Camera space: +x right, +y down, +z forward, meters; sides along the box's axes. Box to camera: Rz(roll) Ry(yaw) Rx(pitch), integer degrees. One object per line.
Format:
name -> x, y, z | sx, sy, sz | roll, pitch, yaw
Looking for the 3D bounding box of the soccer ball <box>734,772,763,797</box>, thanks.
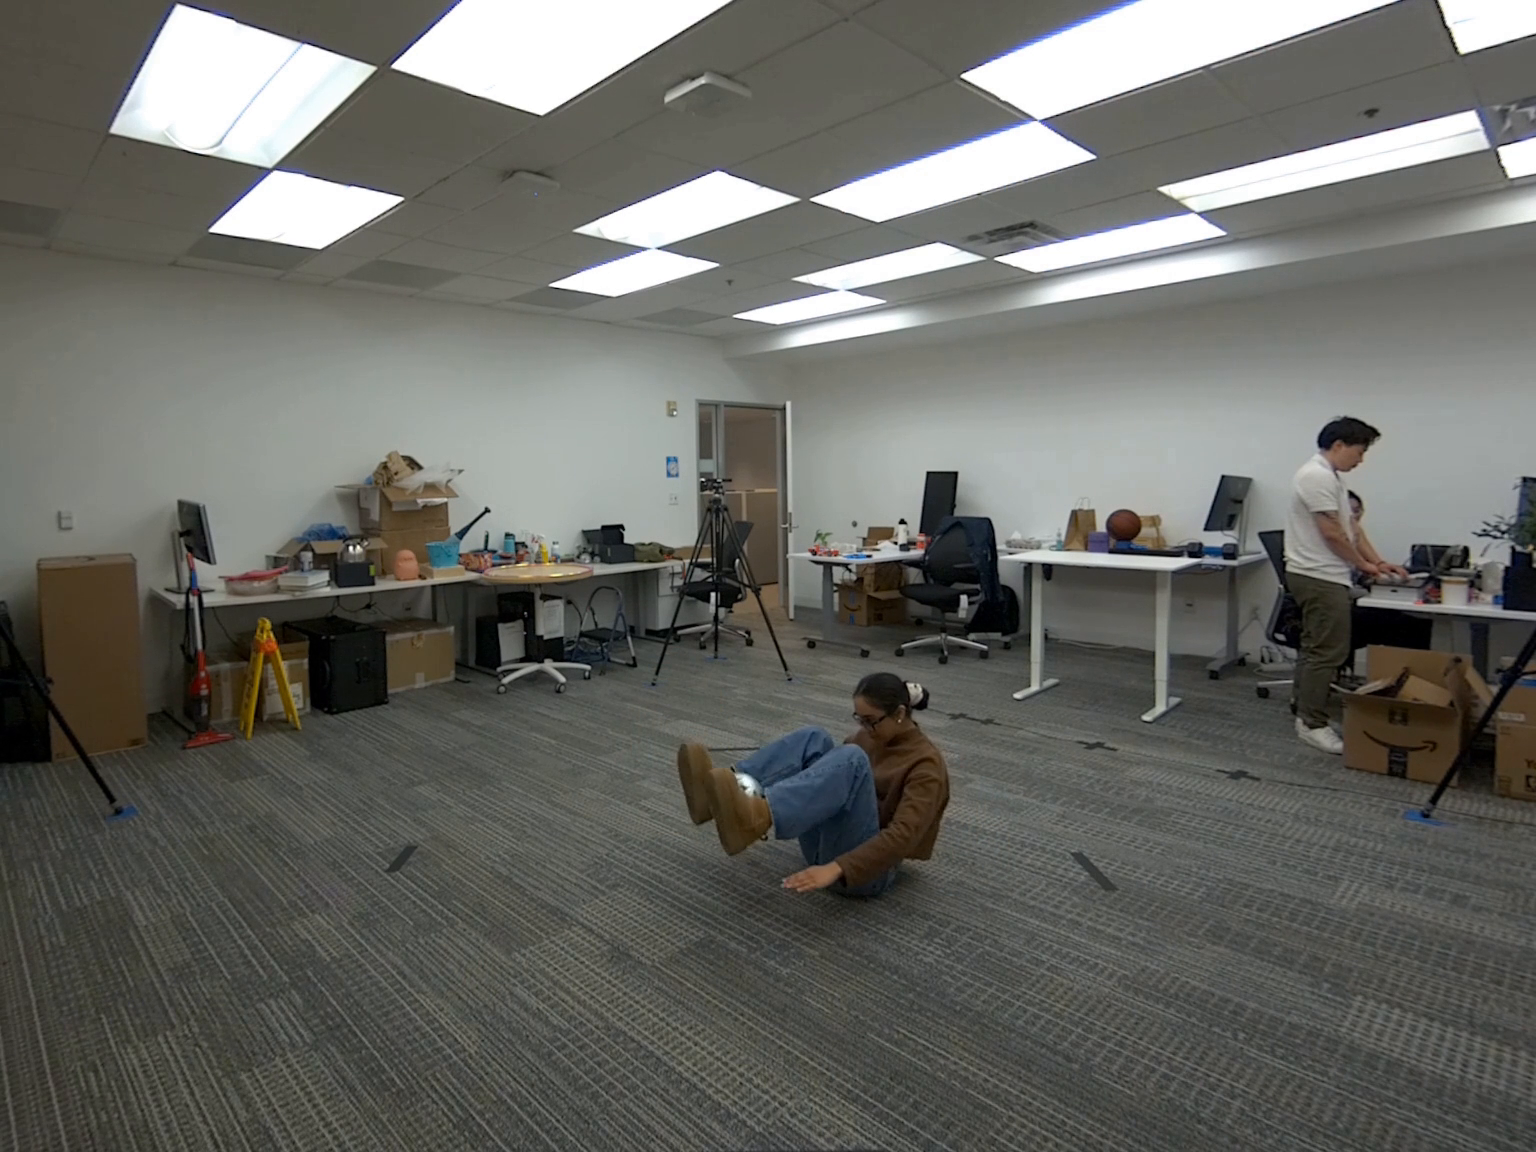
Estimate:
soccer ball -> -0.089, 0.732, 2.770 | 0.187, 0.187, 0.188 | -1, 5, -2
